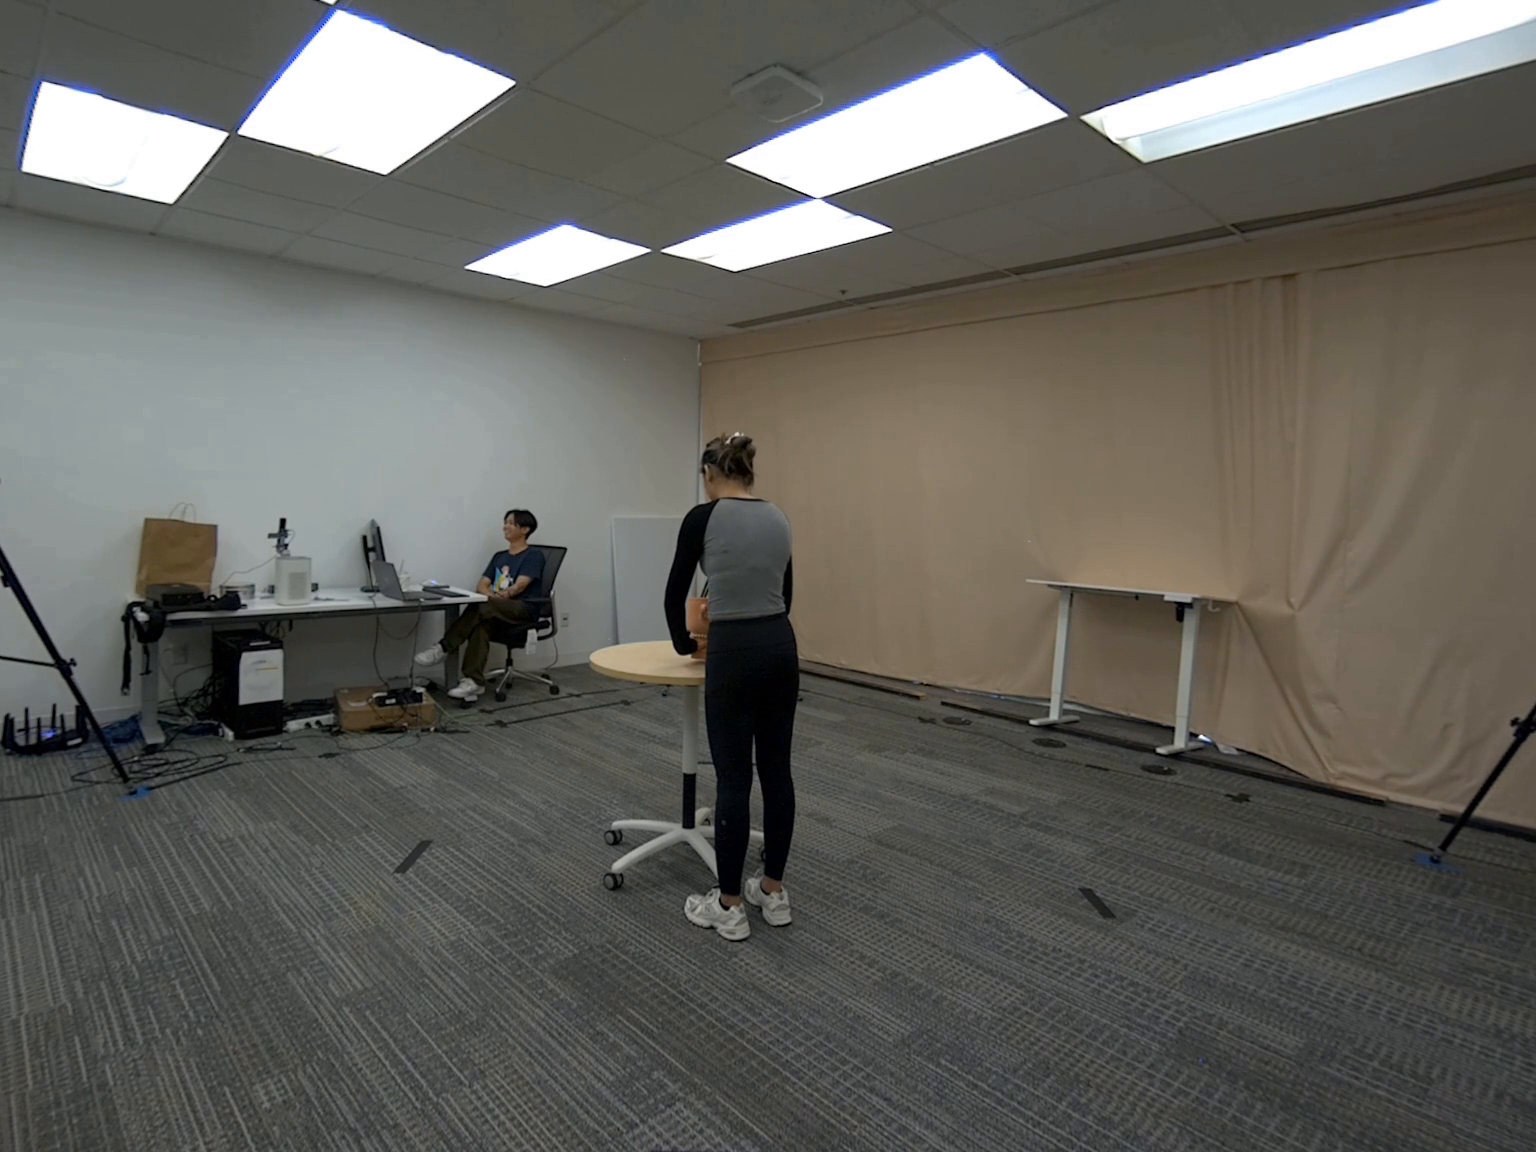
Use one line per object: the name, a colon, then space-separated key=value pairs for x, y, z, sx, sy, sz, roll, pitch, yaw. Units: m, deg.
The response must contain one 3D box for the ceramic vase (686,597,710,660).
ceramic vase: x=-0.240 y=0.189 z=3.068 sx=0.138 sy=0.220 sz=0.155 roll=-1 pitch=-1 yaw=39
